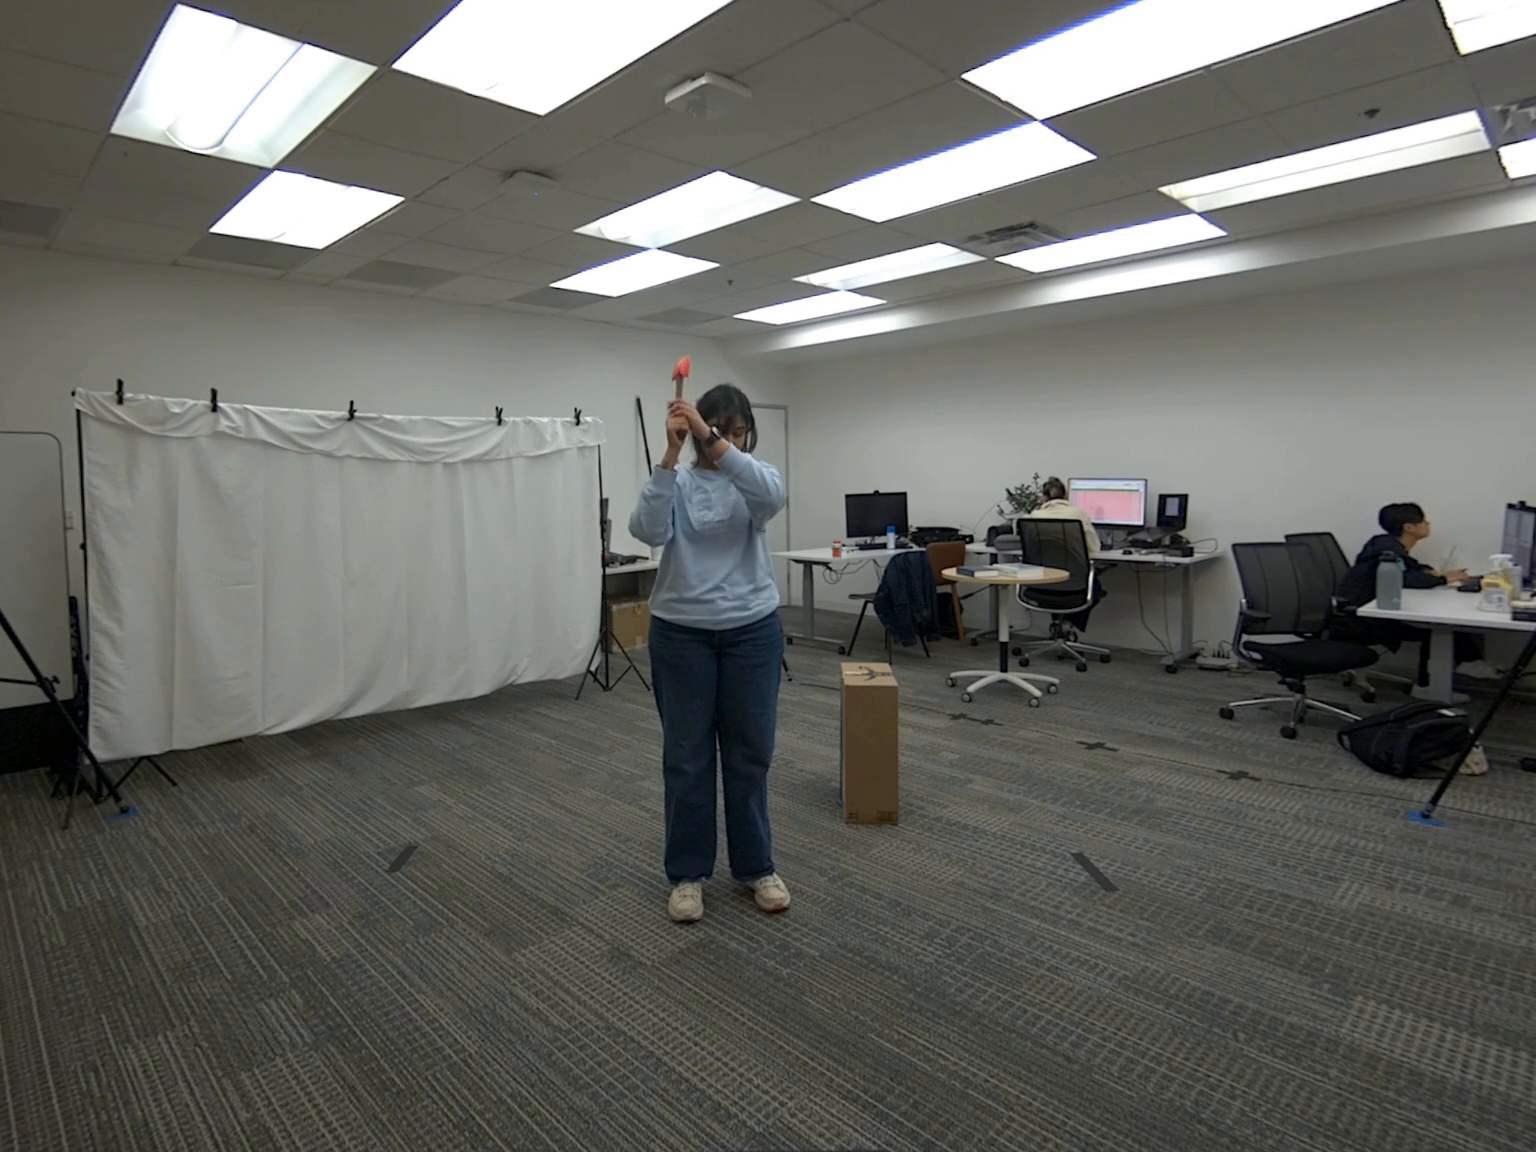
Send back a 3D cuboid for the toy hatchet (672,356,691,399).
[{"bbox_3d":[-0.232,-0.511,2.461,0.029,0.278,0.130,9,-40,-25],"label":"toy hatchet"}]
